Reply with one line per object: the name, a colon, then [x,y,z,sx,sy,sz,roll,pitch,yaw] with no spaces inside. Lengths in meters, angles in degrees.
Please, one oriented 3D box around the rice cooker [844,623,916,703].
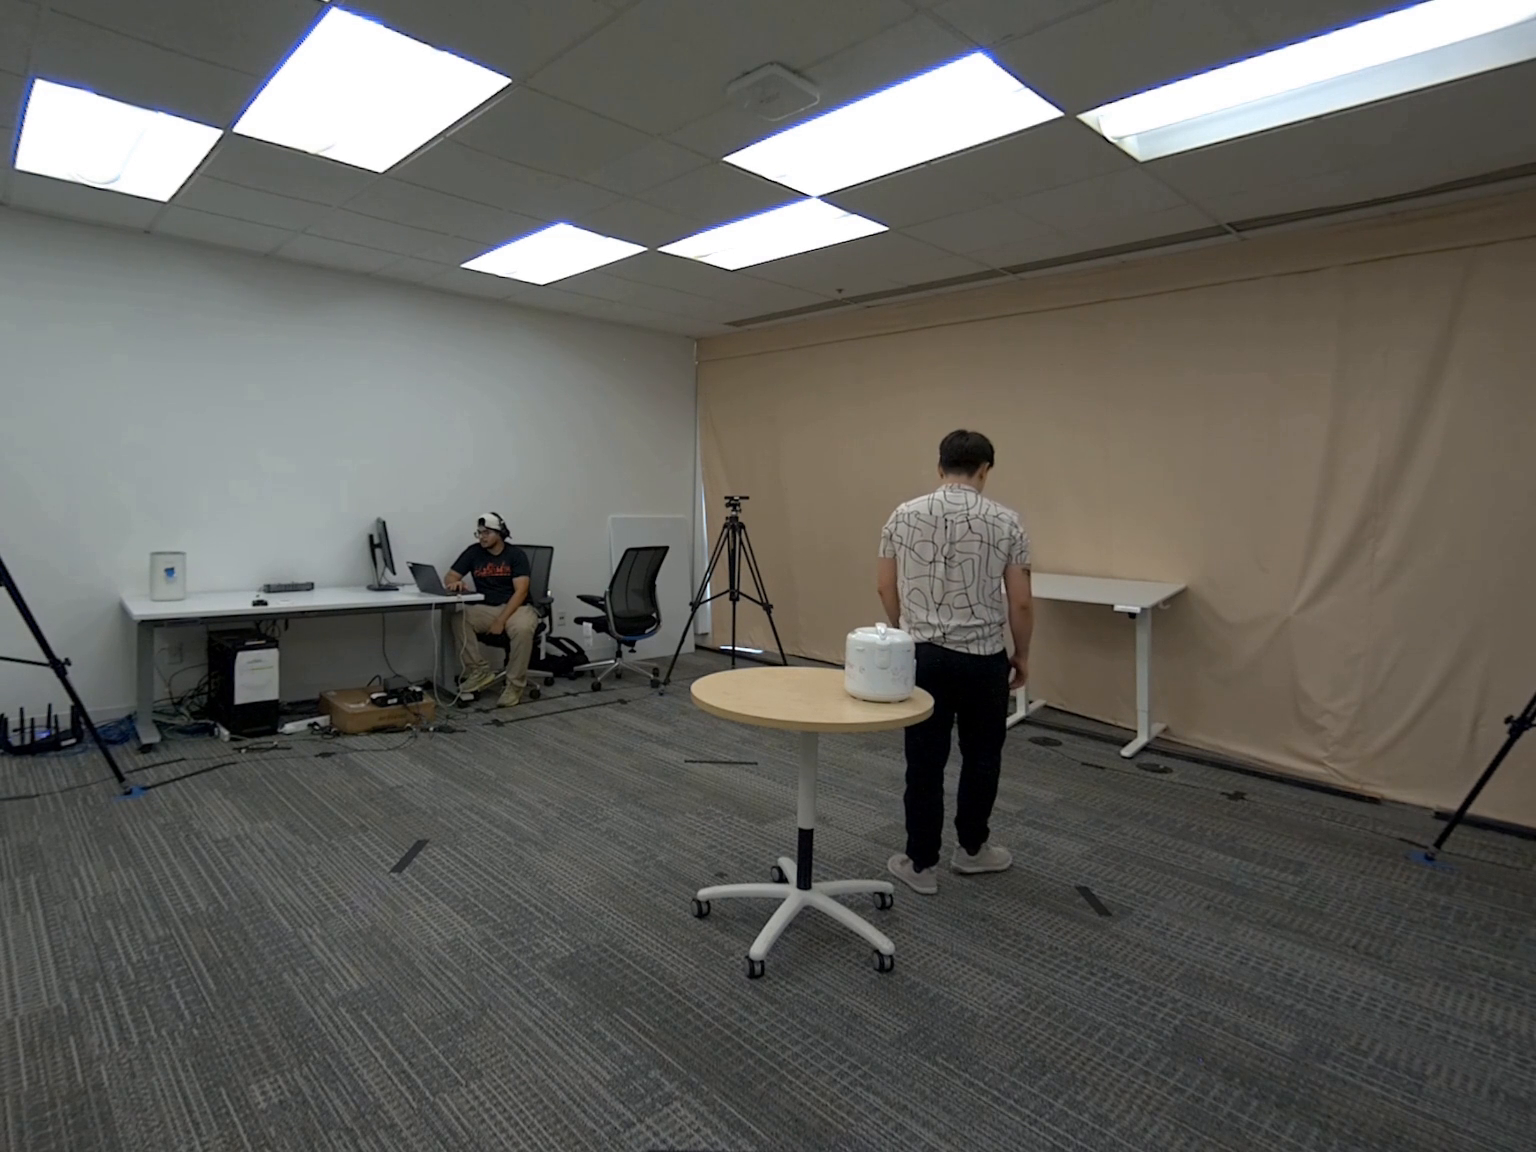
rice cooker: [0.346,0.263,2.623,0.218,0.232,0.220,2,4,5]
